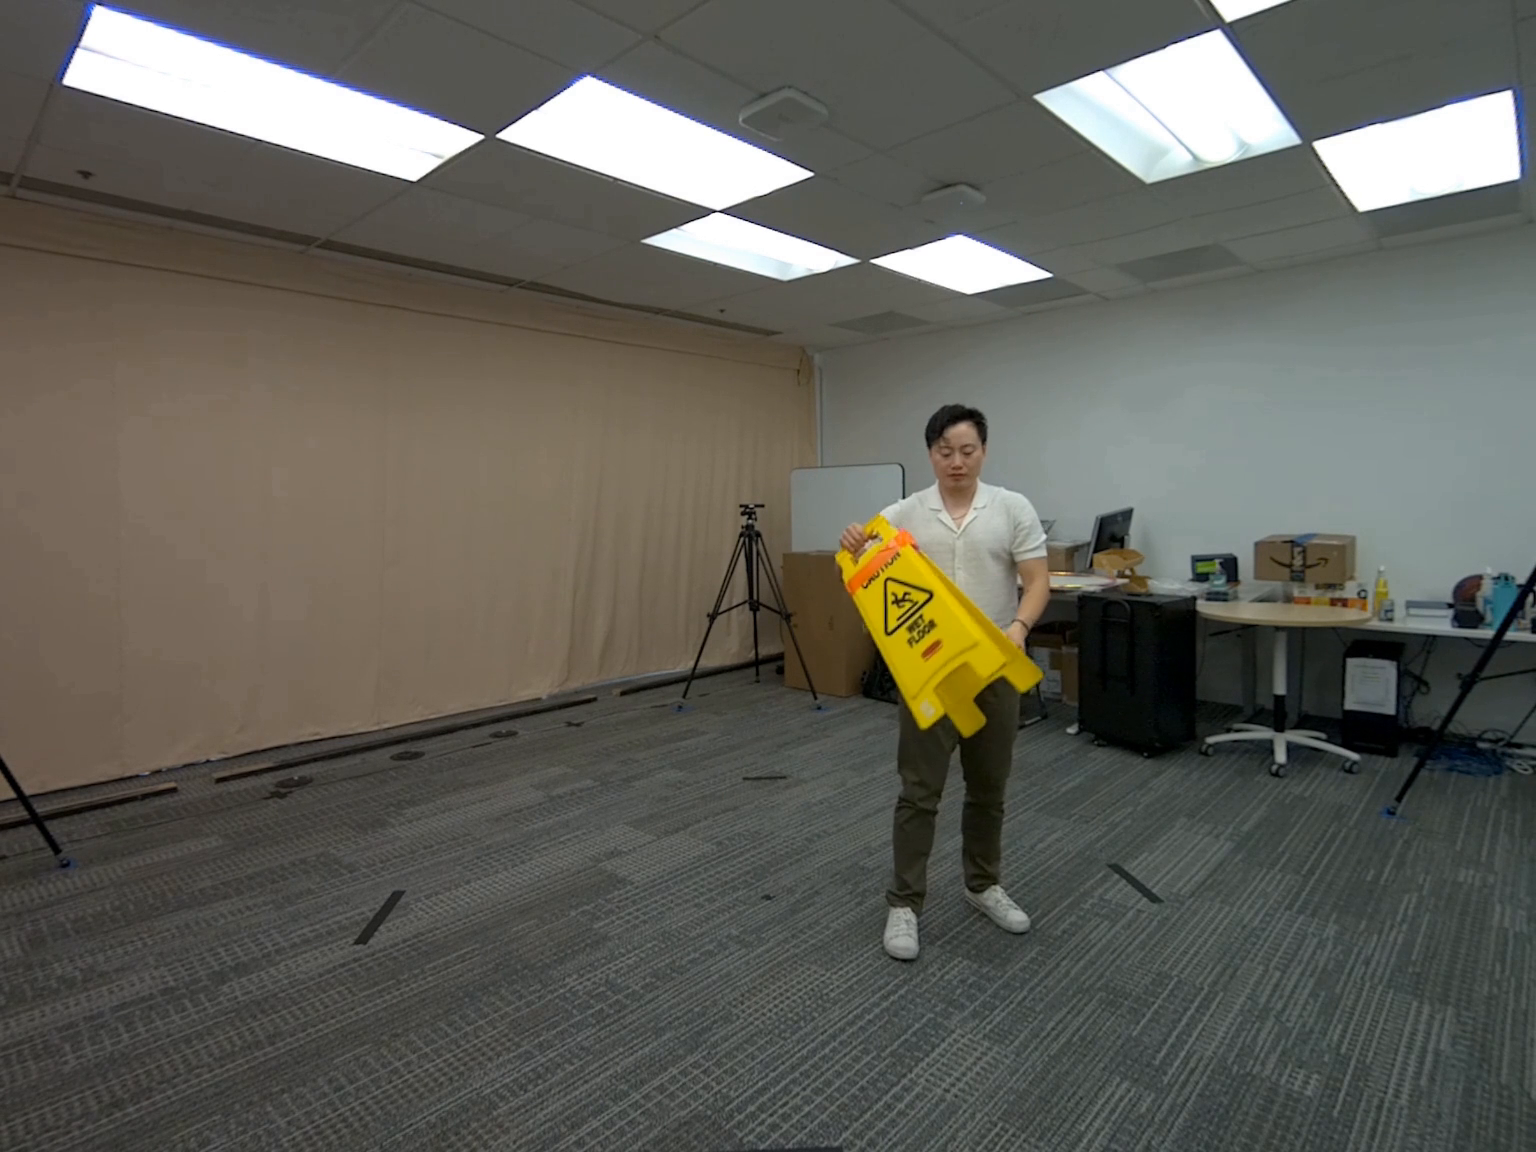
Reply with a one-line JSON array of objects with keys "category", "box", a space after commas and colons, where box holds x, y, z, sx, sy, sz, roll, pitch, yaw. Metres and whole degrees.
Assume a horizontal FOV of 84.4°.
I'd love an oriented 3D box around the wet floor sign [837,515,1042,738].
[{"category": "wet floor sign", "box": [0.432, 0.117, 2.400, 0.279, 0.284, 0.666, 21, 30, -50]}]
